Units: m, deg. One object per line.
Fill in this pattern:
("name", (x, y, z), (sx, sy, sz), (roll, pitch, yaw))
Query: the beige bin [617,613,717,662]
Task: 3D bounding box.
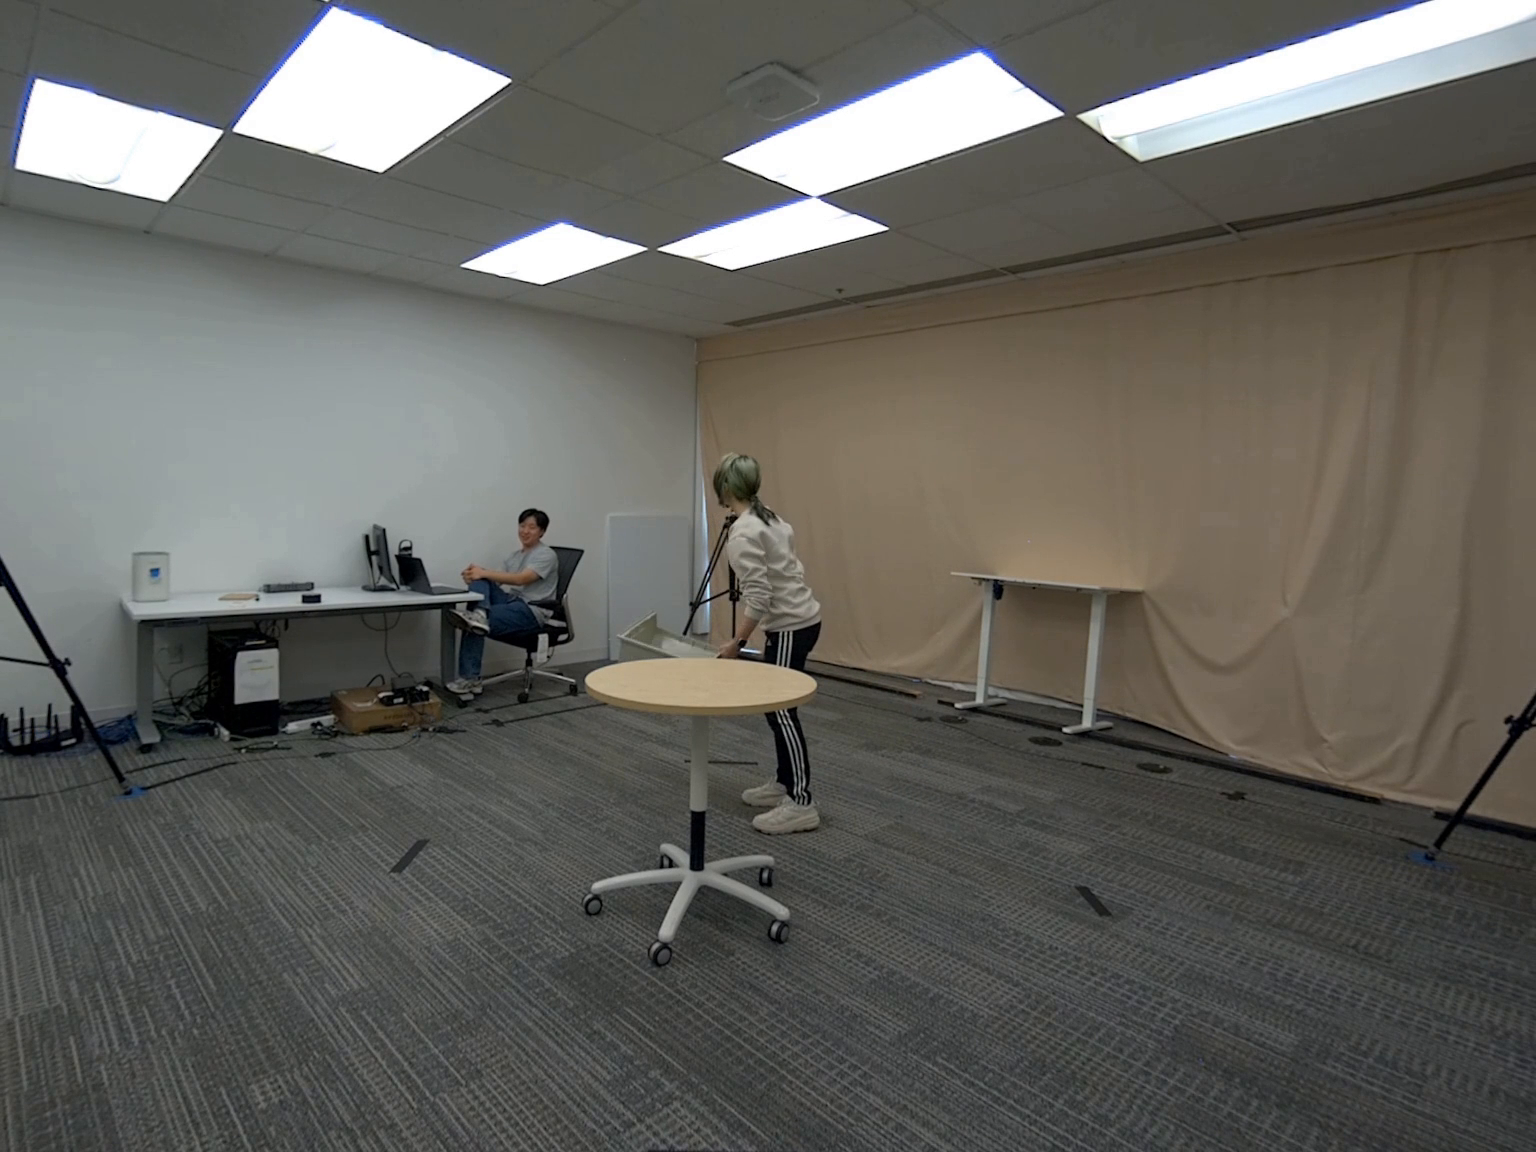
("beige bin", (-0.407, 0.342, 3.720), (0.429, 0.187, 0.375), (18, 21, 16))
